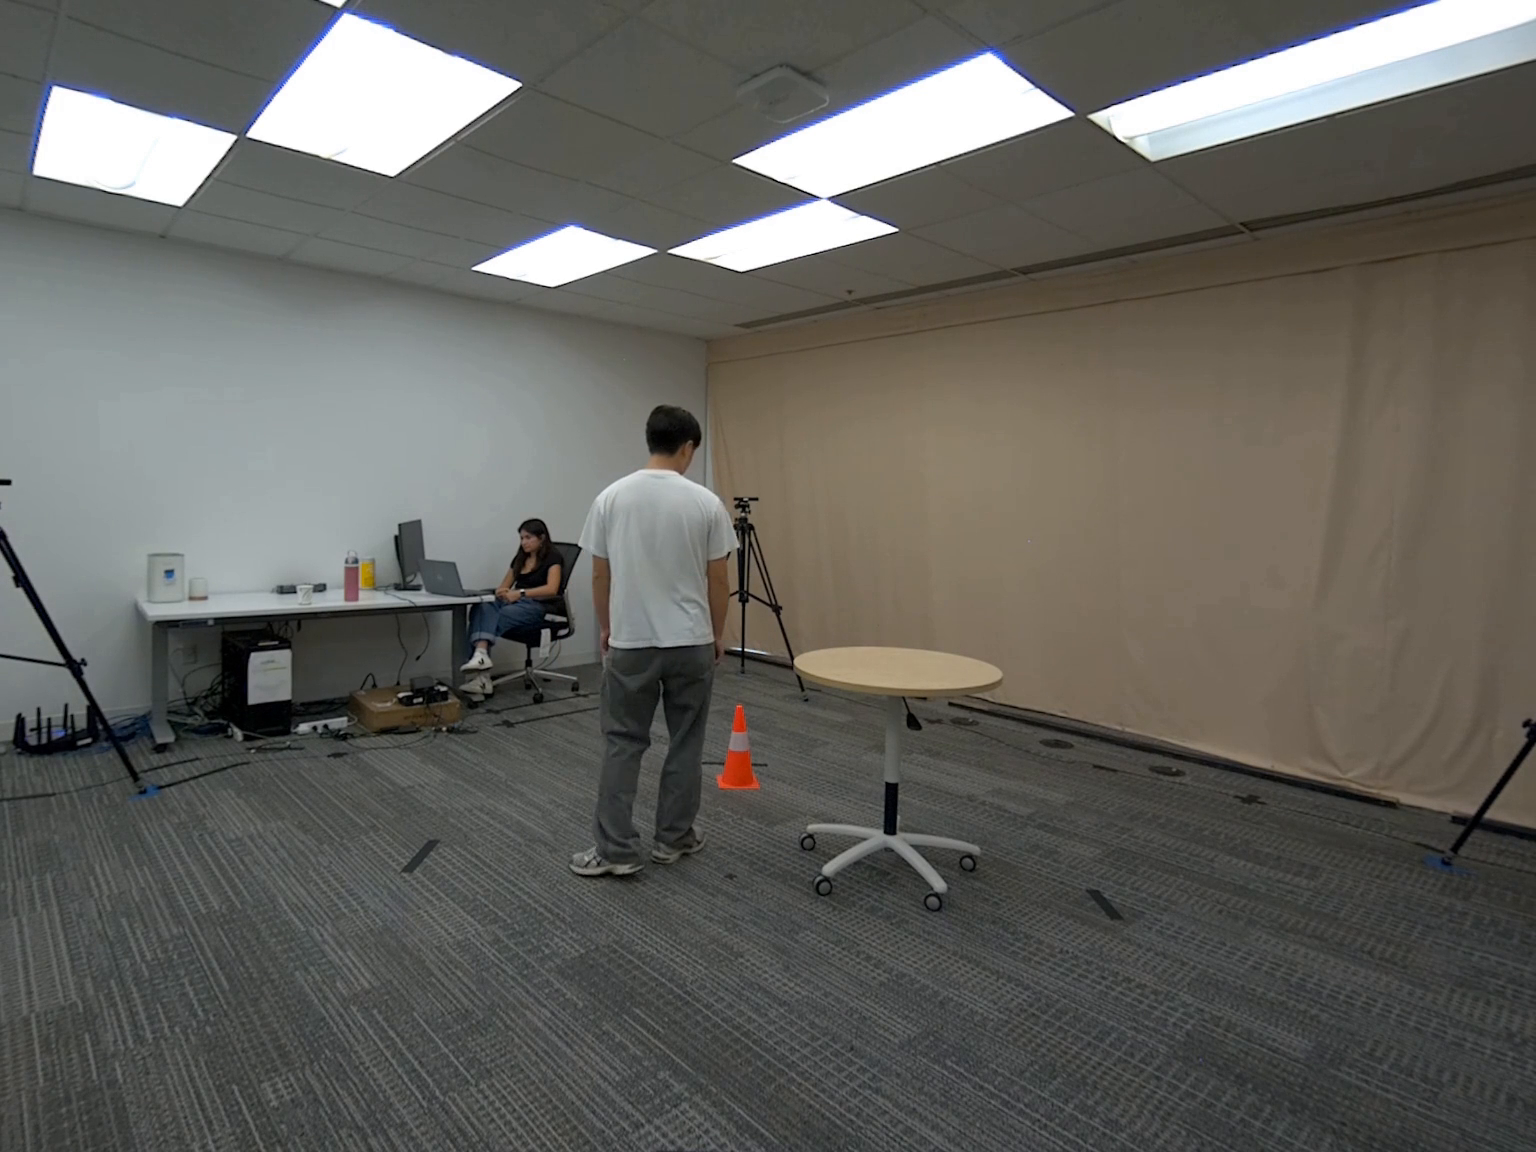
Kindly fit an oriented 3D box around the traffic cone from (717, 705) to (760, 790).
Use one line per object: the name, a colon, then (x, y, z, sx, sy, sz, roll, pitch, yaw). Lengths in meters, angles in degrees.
traffic cone: (-0.158, 0.835, 4.164, 0.202, 0.383, 0.207, 3, 2, -8)
